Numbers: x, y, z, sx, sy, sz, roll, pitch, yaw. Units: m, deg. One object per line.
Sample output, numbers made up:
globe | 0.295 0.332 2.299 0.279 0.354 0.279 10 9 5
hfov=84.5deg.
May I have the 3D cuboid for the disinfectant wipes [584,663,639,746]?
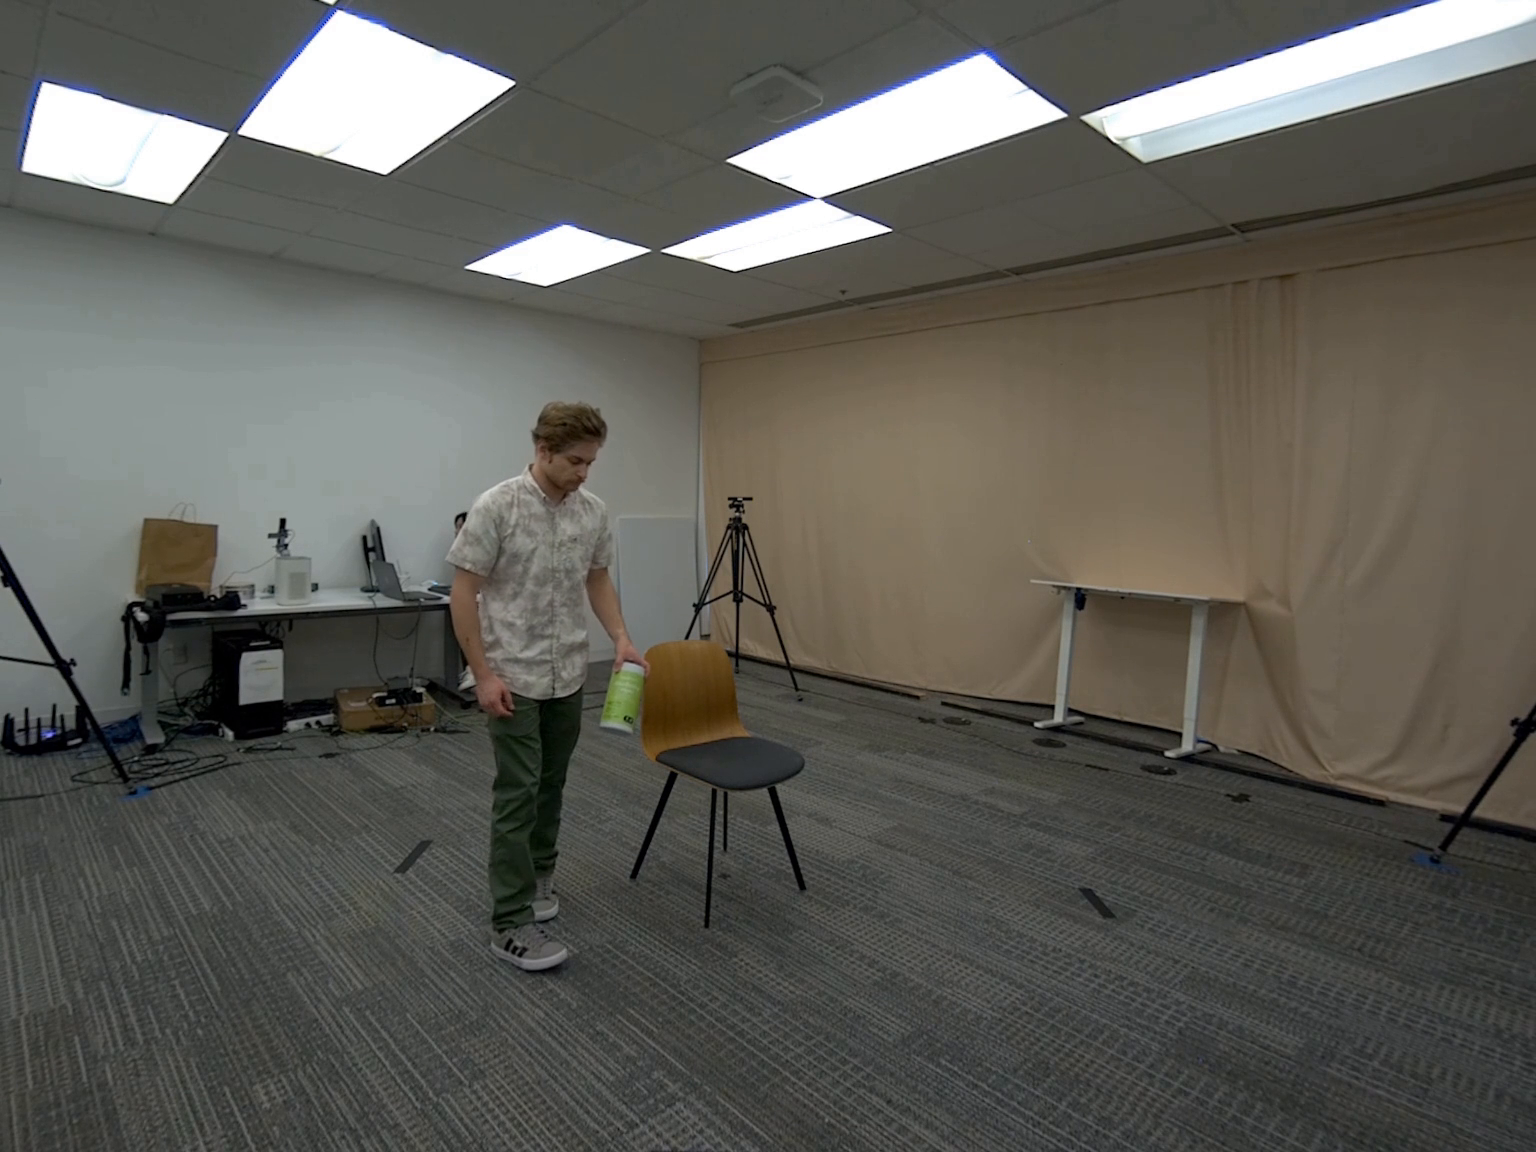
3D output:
disinfectant wipes | -0.493 0.403 2.670 0.118 0.220 0.116 7 -24 2
